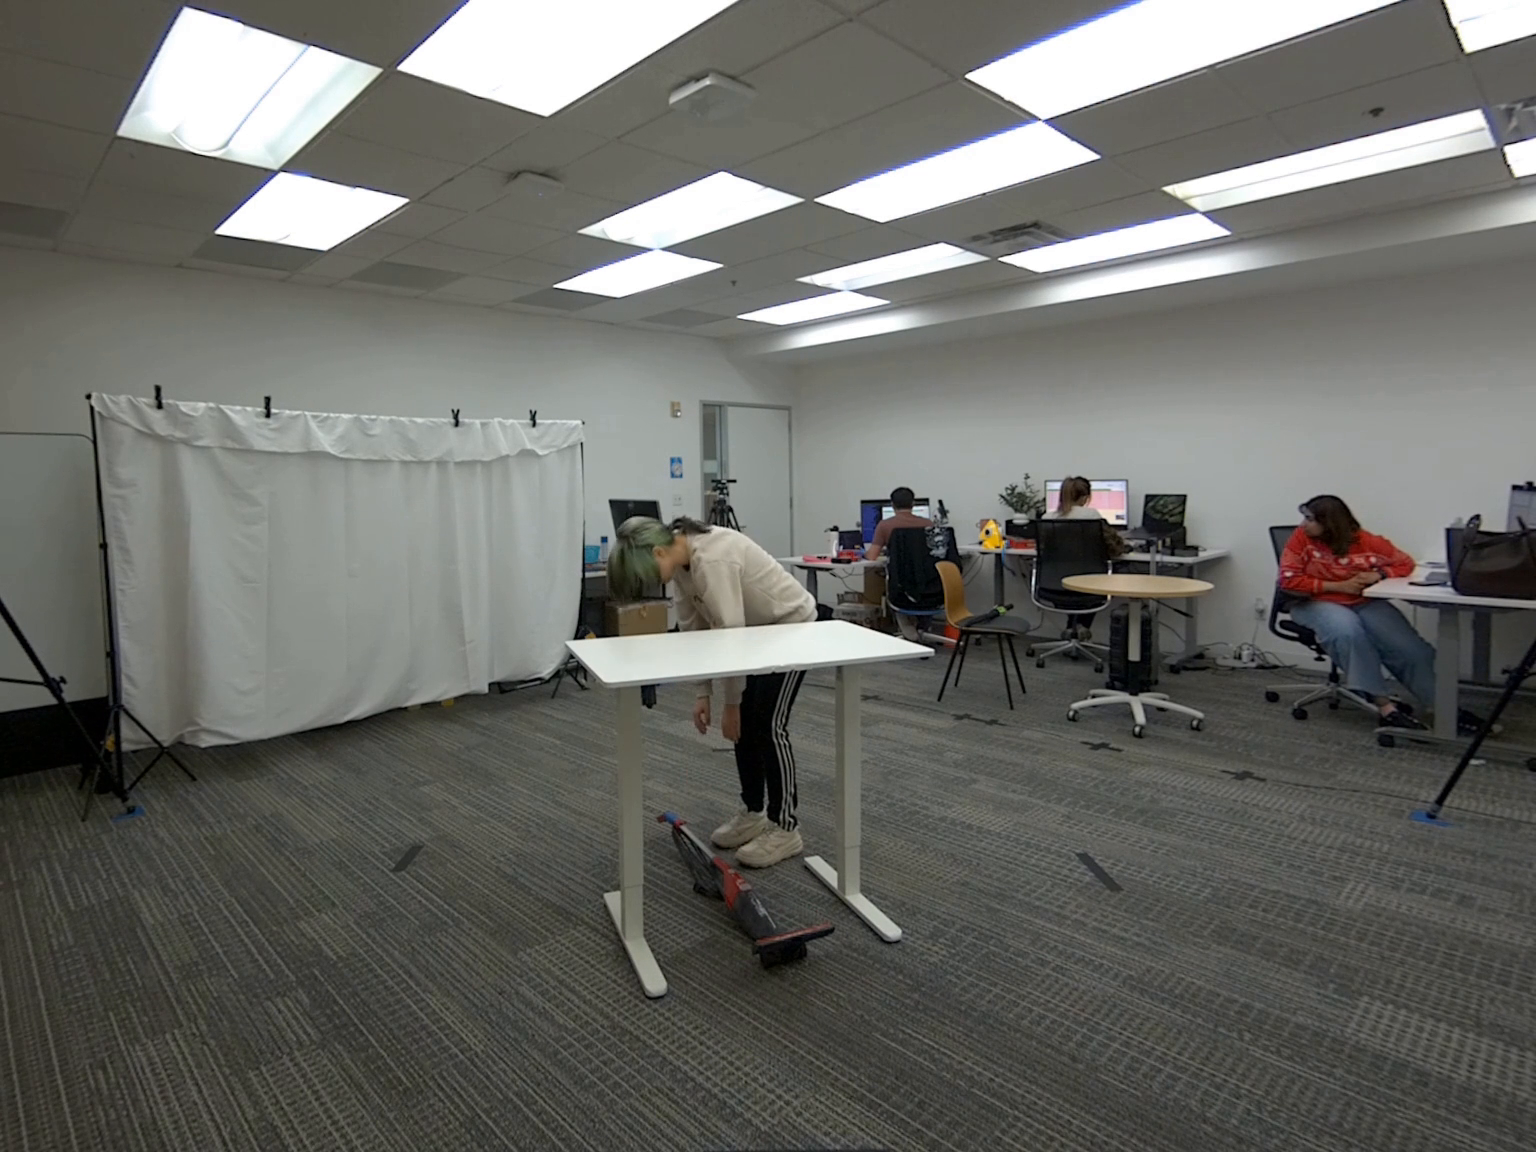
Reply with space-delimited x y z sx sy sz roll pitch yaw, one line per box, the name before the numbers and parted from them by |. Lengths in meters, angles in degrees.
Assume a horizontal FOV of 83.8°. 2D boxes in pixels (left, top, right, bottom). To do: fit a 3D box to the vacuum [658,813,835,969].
vacuum | -0.186 1.014 2.907 0.247 0.143 1.076 -5 7 -26
